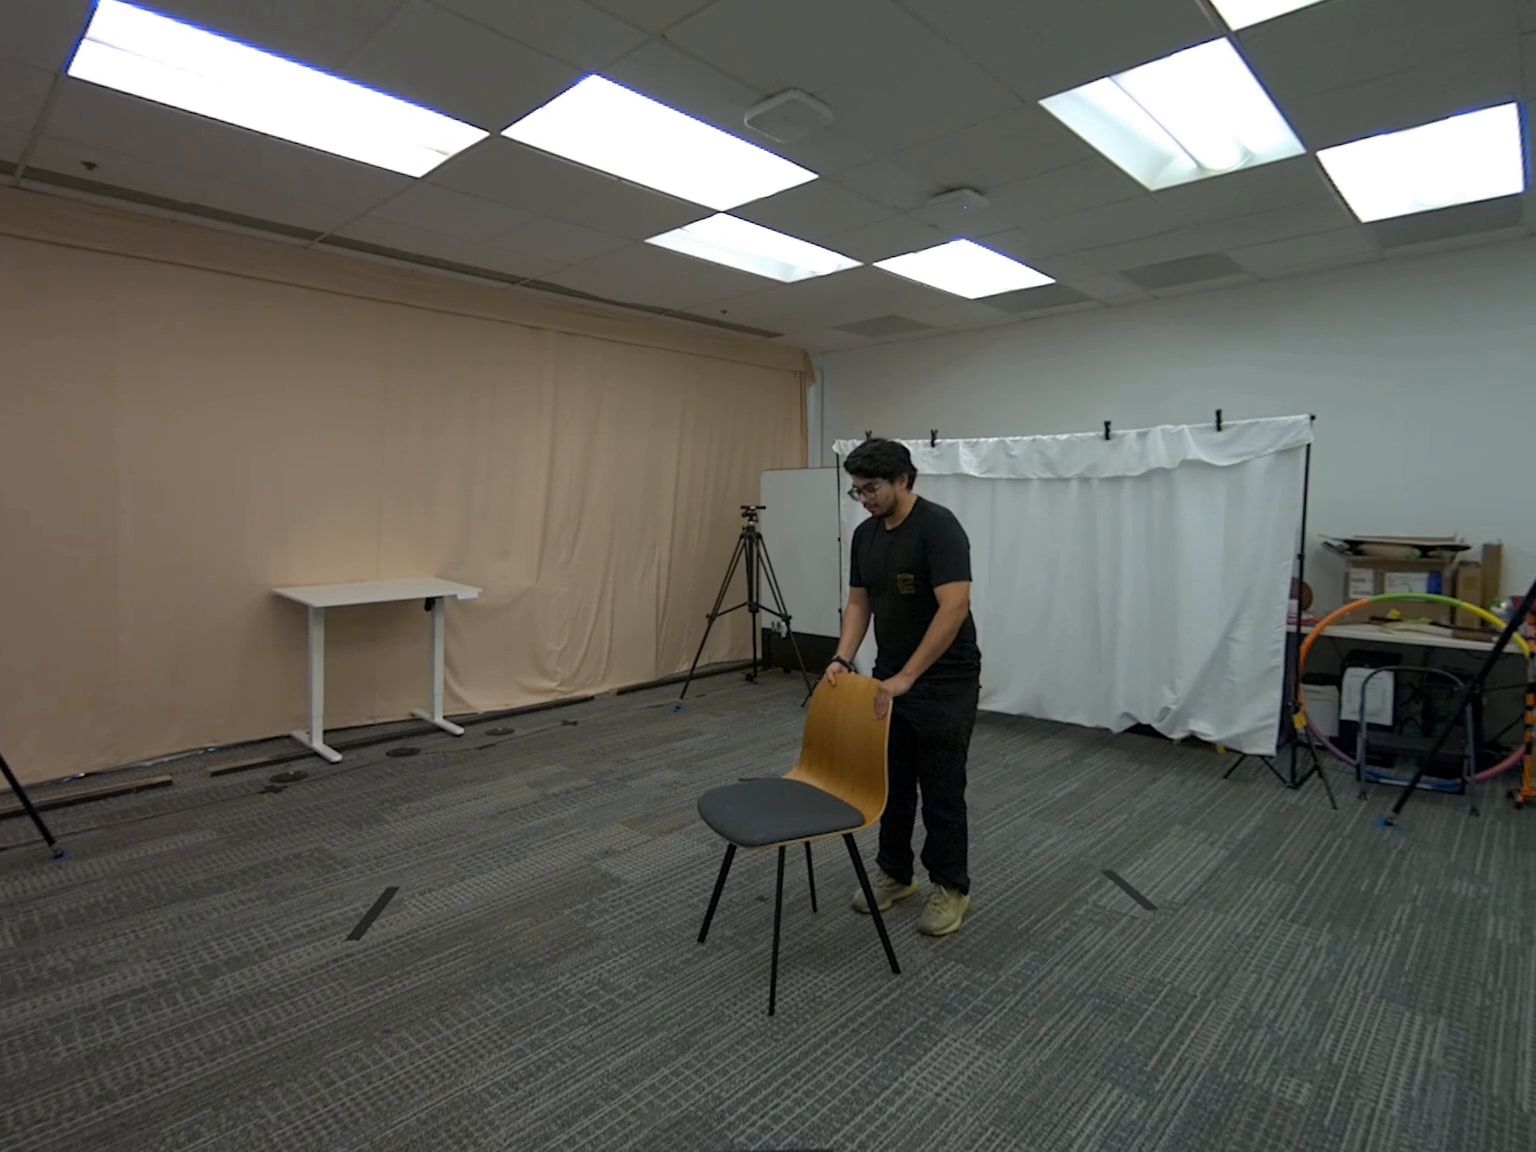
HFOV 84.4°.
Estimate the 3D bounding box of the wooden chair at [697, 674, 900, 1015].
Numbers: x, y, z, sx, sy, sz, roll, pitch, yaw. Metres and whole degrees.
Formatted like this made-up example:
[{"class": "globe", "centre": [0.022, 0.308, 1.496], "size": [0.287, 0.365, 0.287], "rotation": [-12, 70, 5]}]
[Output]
[{"class": "wooden chair", "centre": [0.082, 0.752, 2.564], "size": [0.508, 0.876, 0.492], "rotation": [3, 2, -30]}]
